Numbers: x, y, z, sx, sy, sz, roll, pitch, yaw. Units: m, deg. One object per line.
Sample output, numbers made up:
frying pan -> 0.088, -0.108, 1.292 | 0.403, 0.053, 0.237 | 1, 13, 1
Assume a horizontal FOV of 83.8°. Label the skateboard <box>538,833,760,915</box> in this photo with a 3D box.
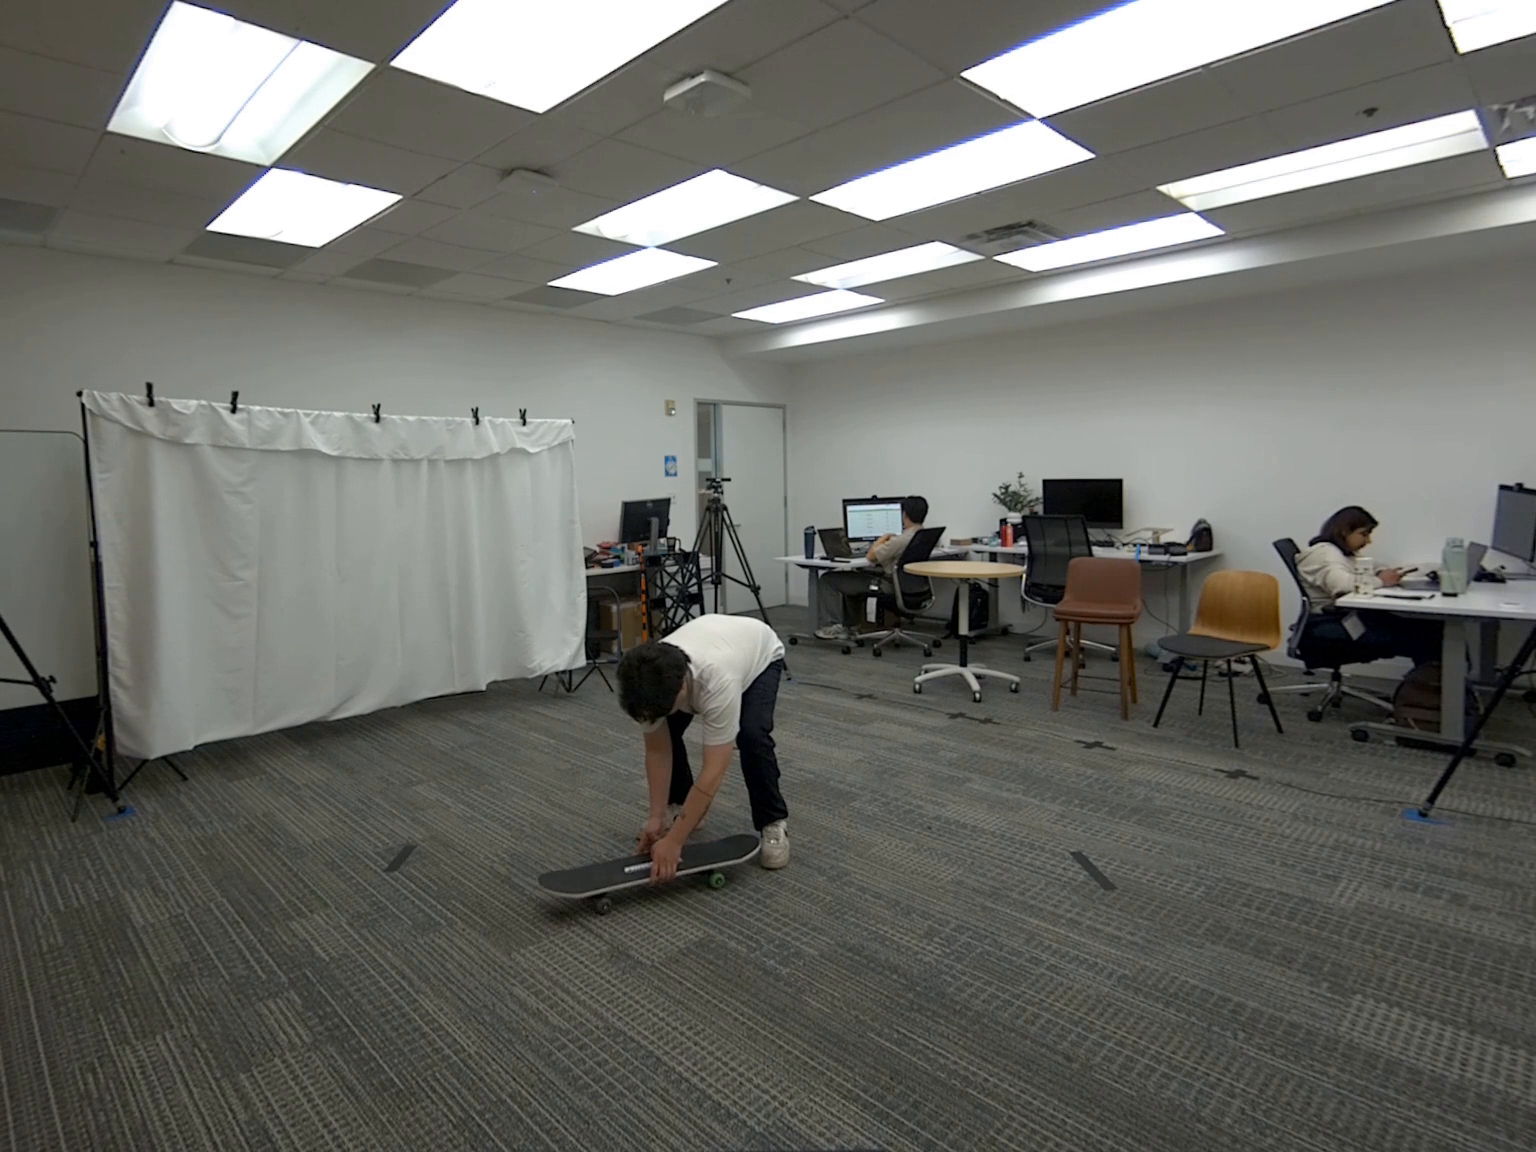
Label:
skateboard -> -0.383, 1.008, 2.909 | 0.770, 0.110, 0.198 | -4, 5, -24
